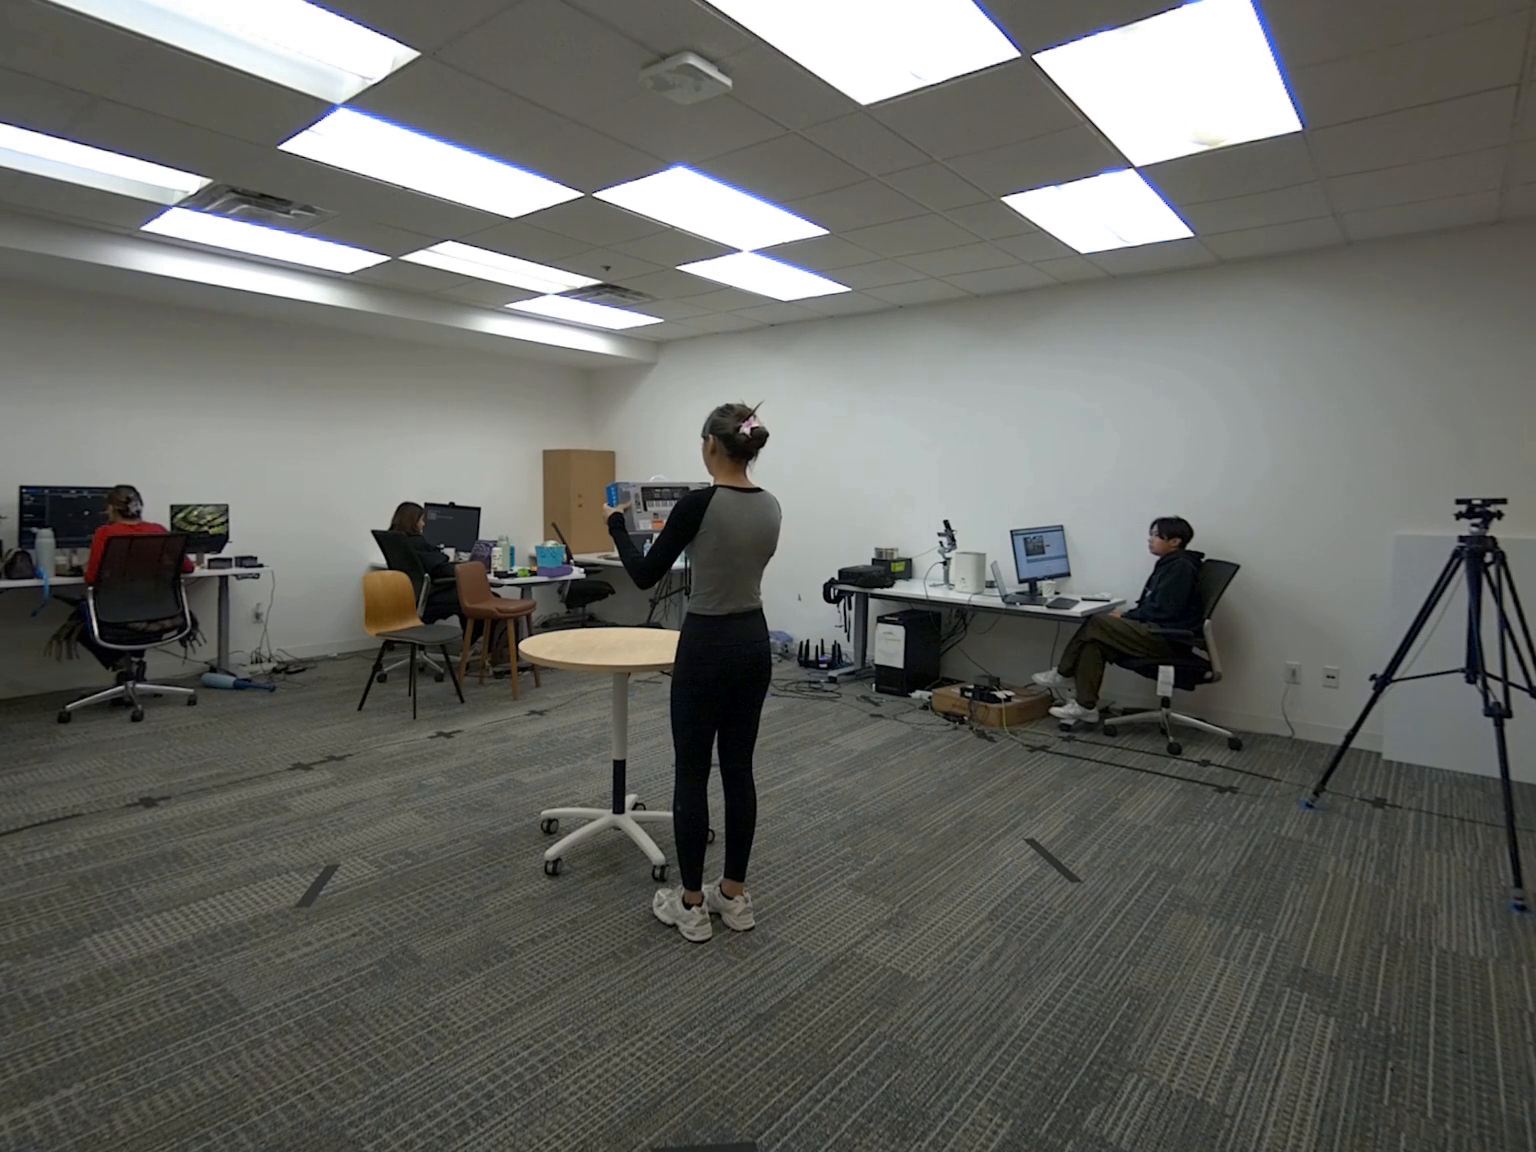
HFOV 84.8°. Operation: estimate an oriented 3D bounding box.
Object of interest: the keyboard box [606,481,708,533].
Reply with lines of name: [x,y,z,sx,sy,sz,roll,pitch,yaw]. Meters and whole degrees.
keyboard box: [-0.374,-0.242,2.994,0.424,0.177,0.060,-6,-6,-45]
